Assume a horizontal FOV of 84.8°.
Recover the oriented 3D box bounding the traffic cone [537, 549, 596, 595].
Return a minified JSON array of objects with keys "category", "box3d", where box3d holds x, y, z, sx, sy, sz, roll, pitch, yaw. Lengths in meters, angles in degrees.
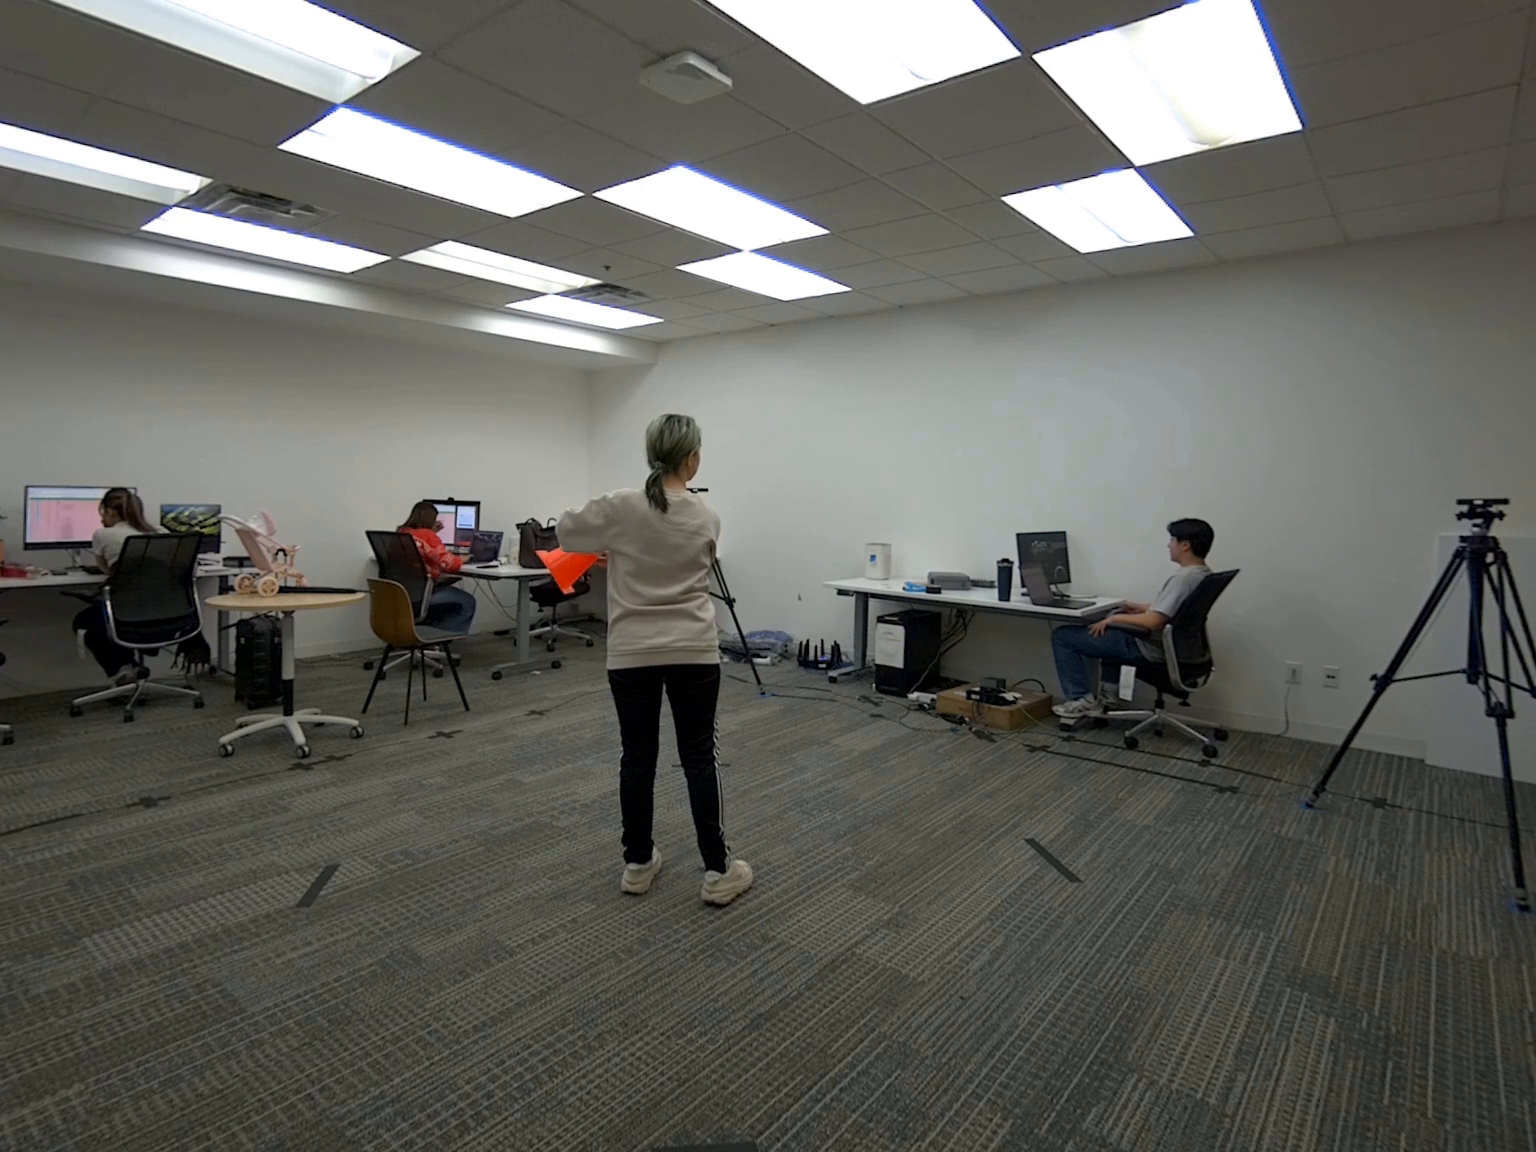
[{"category":"traffic cone","box3d":[-0.683,-0.116,3.310,0.384,0.207,0.202,-34,-5,0]}]
